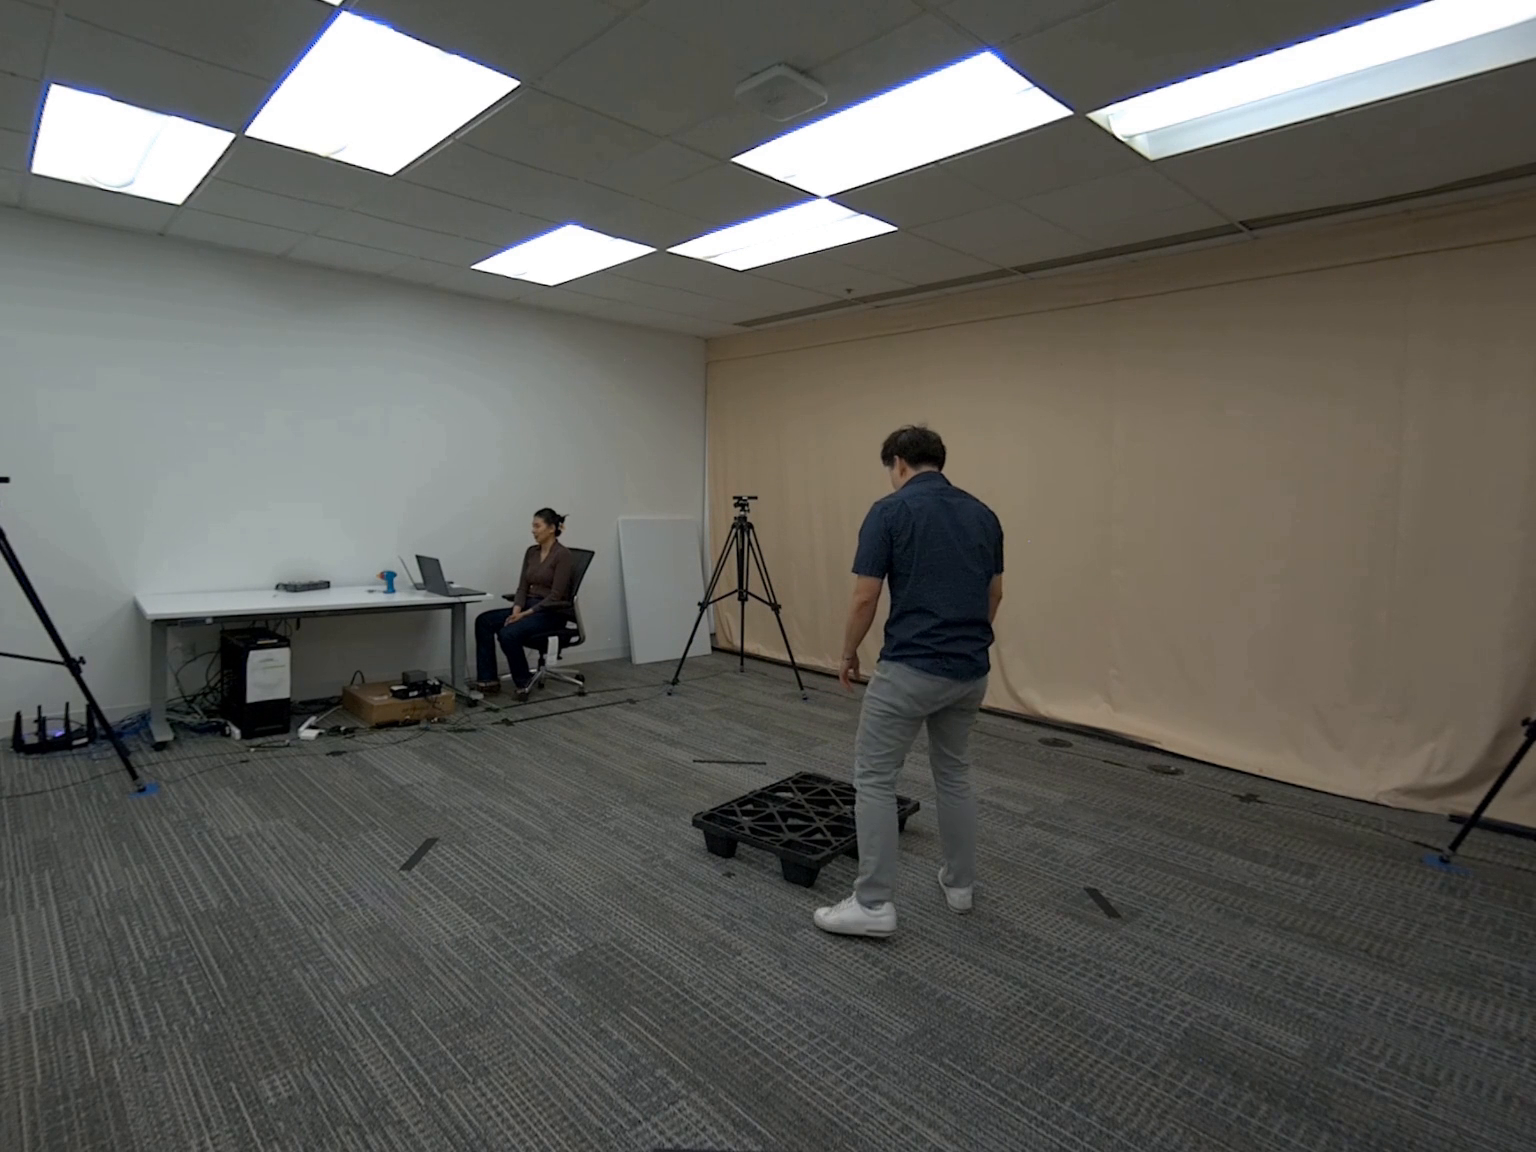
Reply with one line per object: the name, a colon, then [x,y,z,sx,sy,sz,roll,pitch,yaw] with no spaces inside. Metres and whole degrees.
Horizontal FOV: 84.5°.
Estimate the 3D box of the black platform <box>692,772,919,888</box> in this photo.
black platform: [0.164,1.015,3.433,0.620,0.143,0.788,6,7,37]
